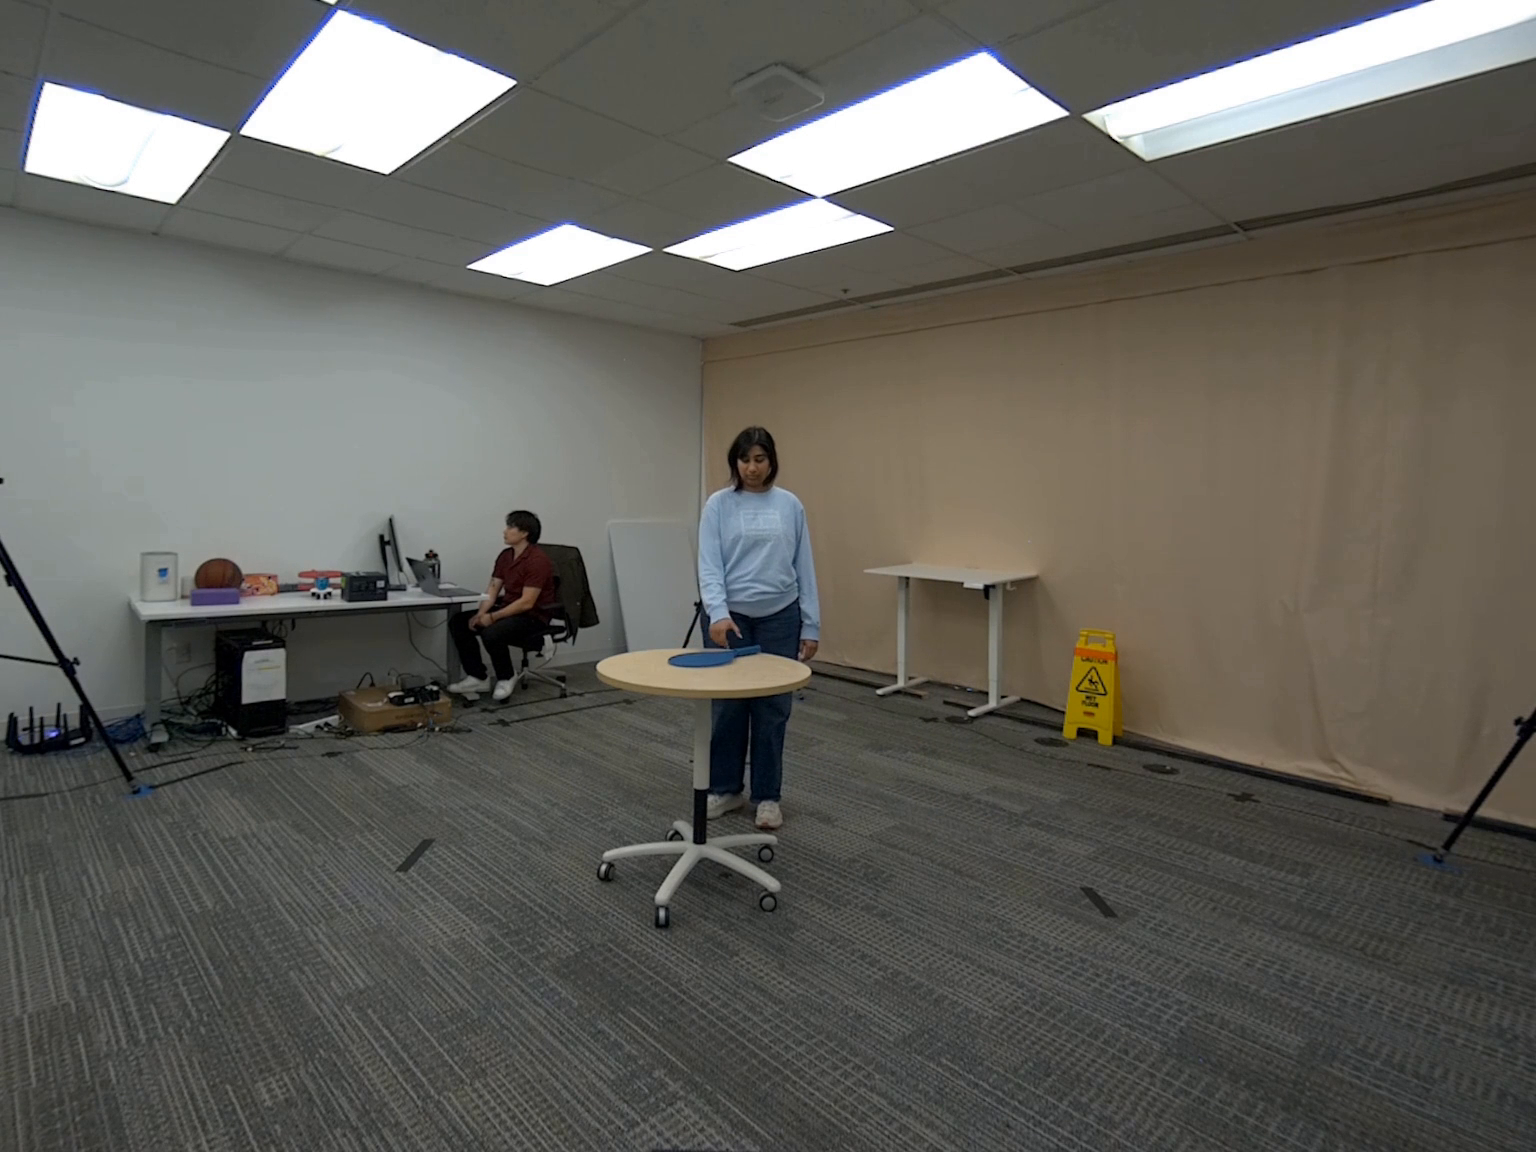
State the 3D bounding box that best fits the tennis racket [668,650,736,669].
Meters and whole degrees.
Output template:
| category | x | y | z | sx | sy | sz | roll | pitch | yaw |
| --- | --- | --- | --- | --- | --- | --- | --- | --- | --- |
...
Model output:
| category | x | y | z | sx | sy | sz | roll | pitch | yaw |
| --- | --- | --- | --- | --- | --- | --- | --- | --- | --- |
| tennis racket | -0.206 | 0.307 | 3.175 | 0.423 | 0.031 | 0.219 | -5 | 10 | -43 |
